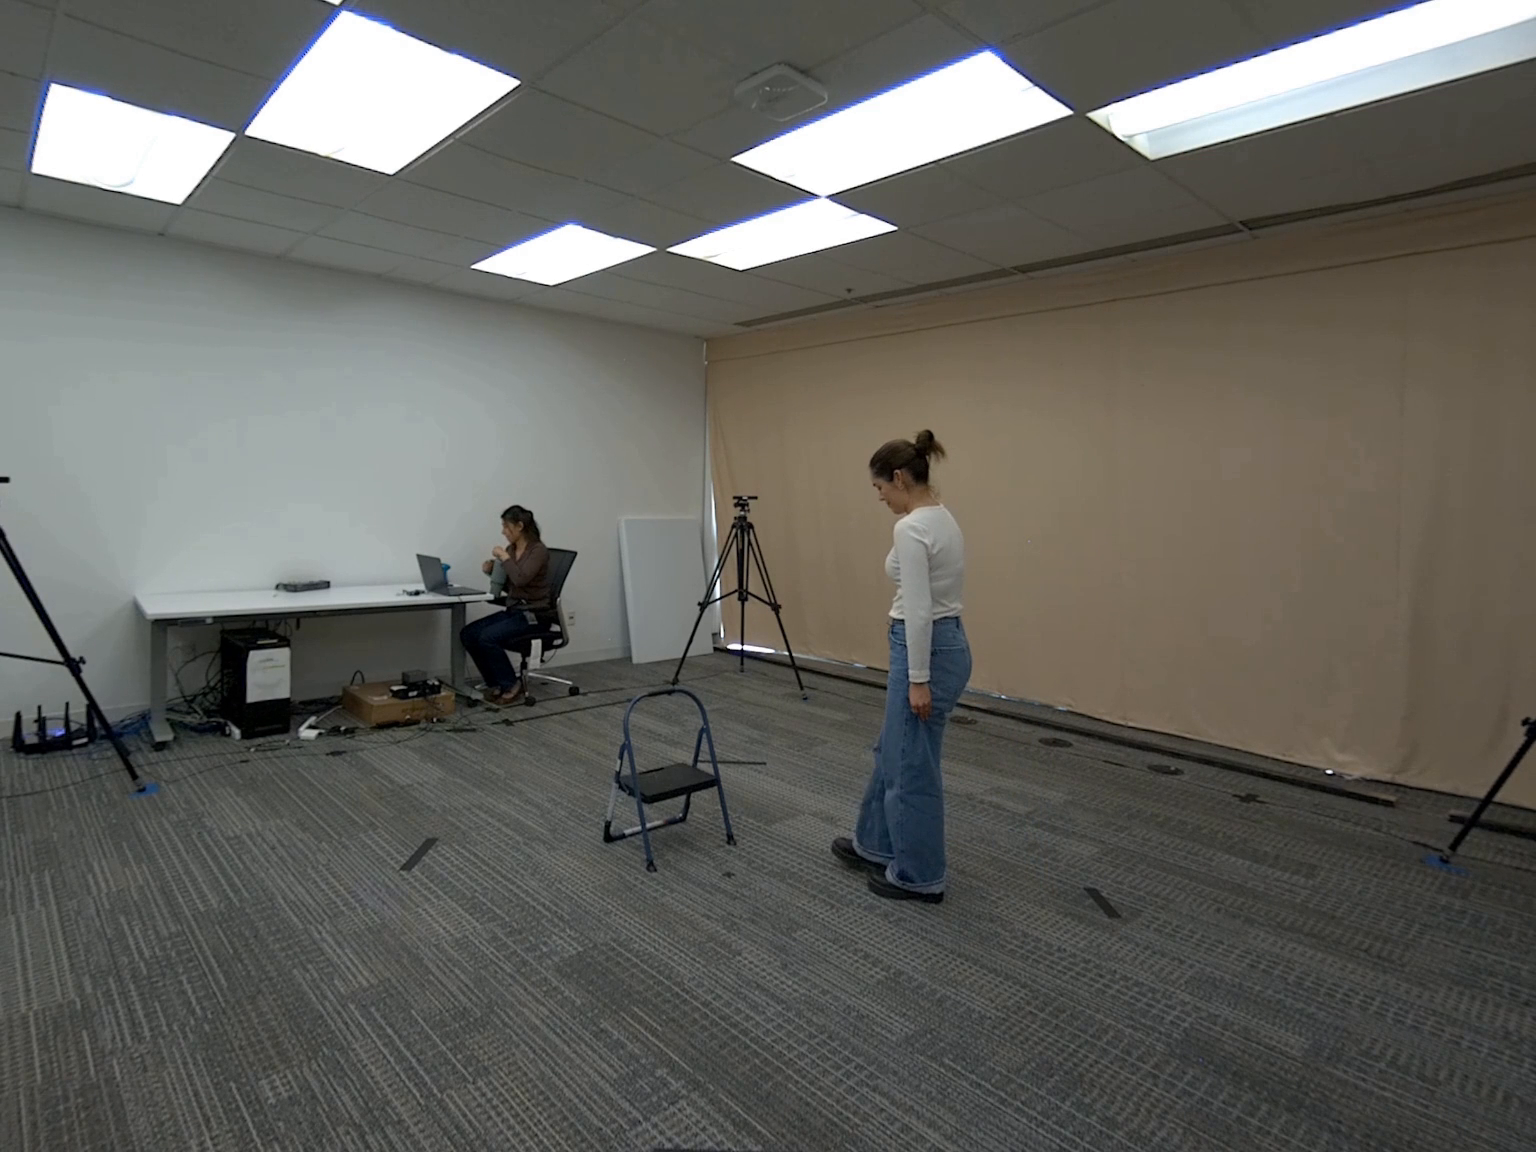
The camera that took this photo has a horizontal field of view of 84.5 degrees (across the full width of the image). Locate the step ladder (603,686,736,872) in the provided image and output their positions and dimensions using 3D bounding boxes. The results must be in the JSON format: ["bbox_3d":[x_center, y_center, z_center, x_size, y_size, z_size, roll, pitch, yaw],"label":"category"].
[{"bbox_3d":[-0.394,0.769,3.367,0.420,0.604,0.358,-1,5,-42],"label":"step ladder"}]
